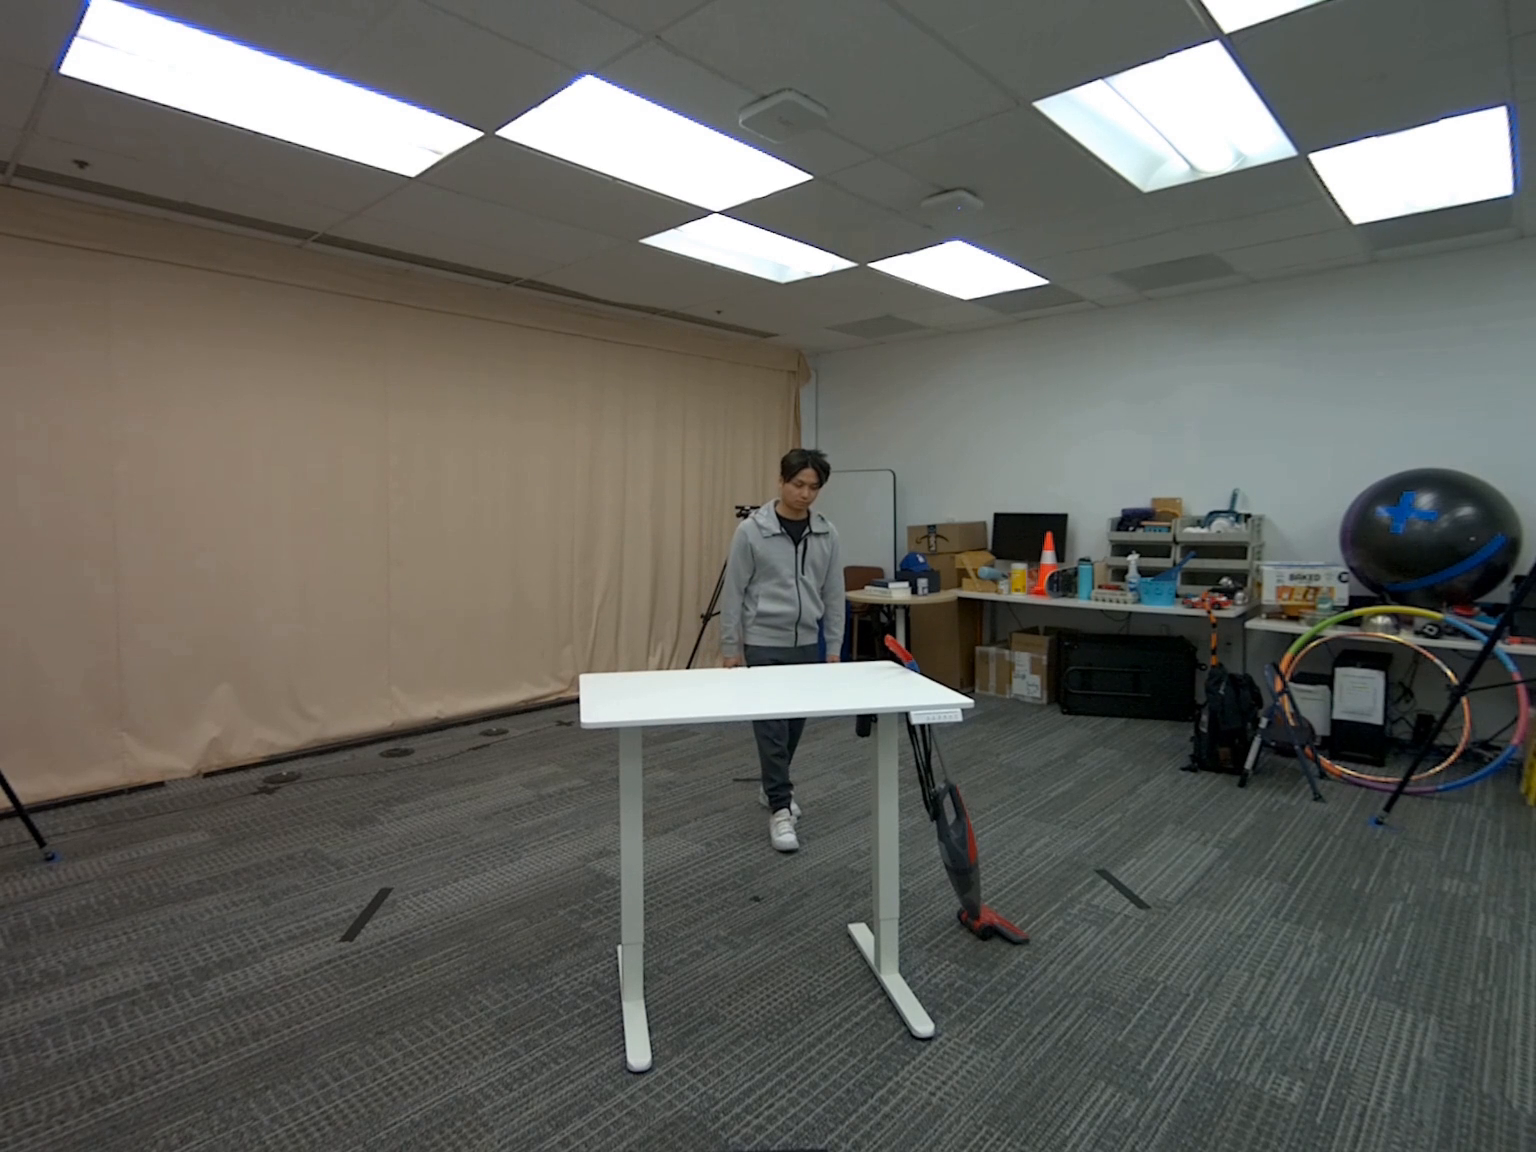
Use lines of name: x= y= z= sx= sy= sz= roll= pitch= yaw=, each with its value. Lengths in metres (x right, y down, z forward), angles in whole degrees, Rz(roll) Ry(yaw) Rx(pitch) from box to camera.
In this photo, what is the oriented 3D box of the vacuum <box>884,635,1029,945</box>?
vacuum: x=0.558 y=0.682 z=2.679 sx=0.142 sy=1.039 sz=0.259 roll=-24 pitch=11 yaw=-24
